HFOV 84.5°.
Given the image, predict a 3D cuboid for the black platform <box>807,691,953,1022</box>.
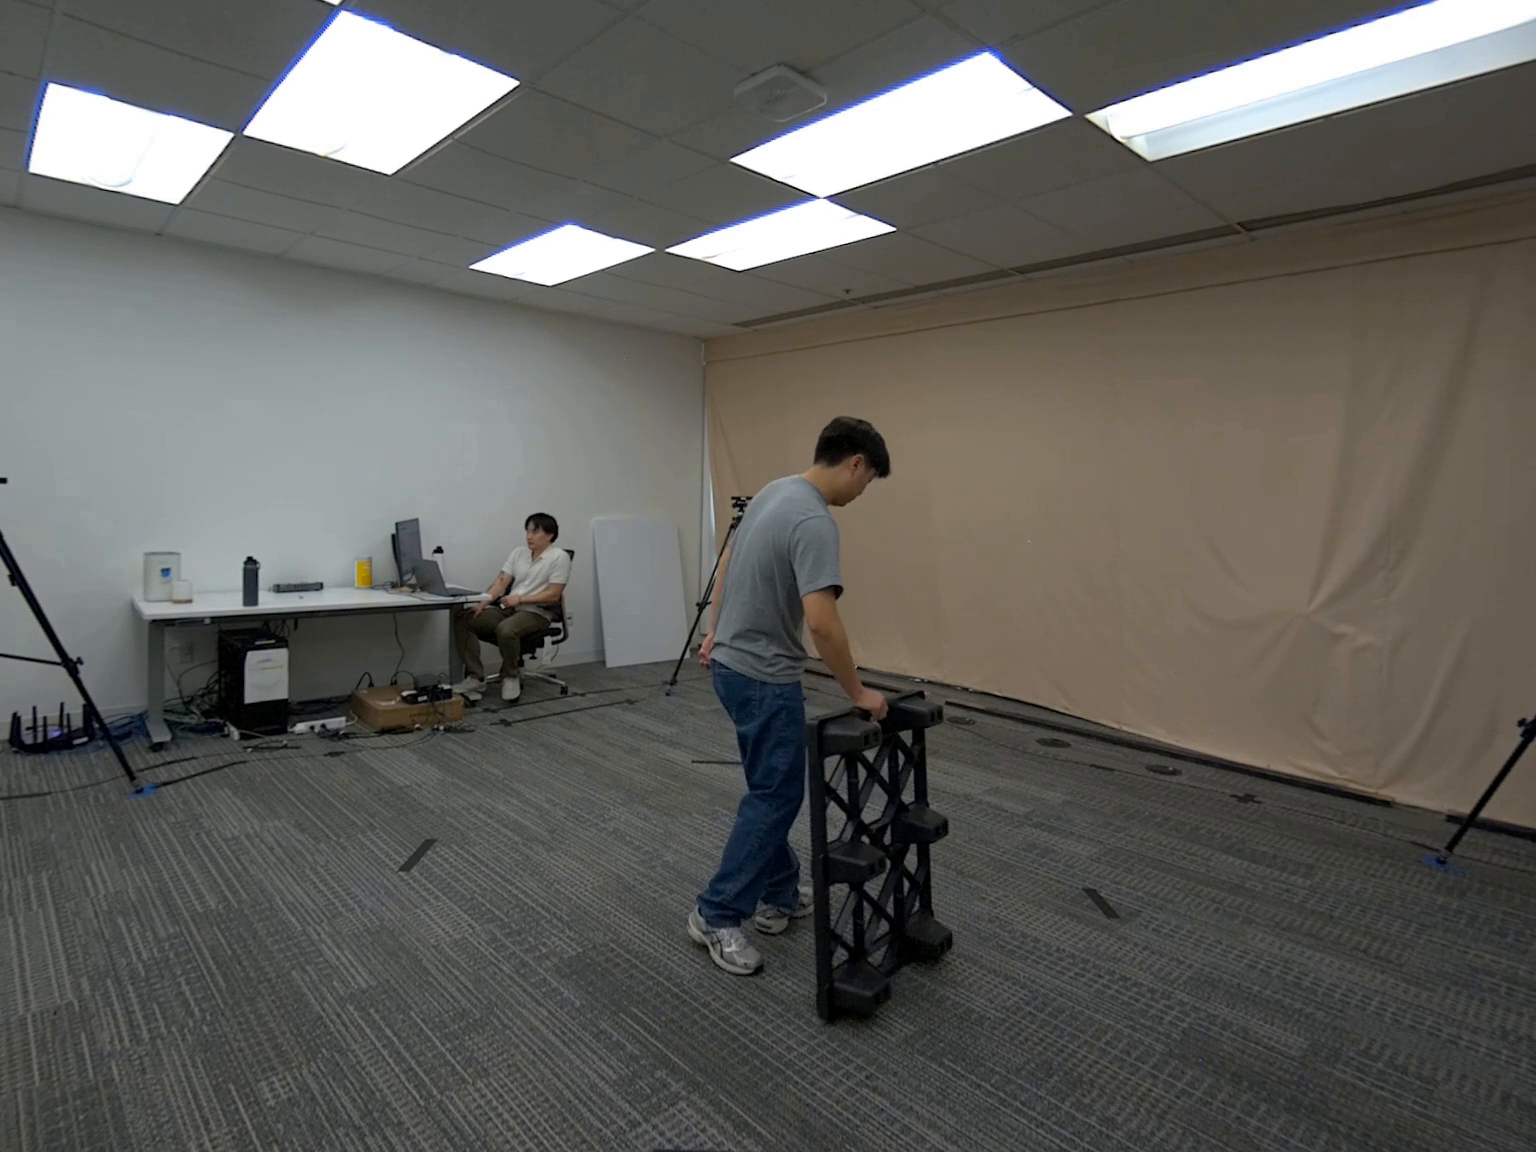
[{"bbox_3d":[0.341,0.775,2.422,0.146,0.806,0.591,-3,-1,40],"label":"black platform"}]
